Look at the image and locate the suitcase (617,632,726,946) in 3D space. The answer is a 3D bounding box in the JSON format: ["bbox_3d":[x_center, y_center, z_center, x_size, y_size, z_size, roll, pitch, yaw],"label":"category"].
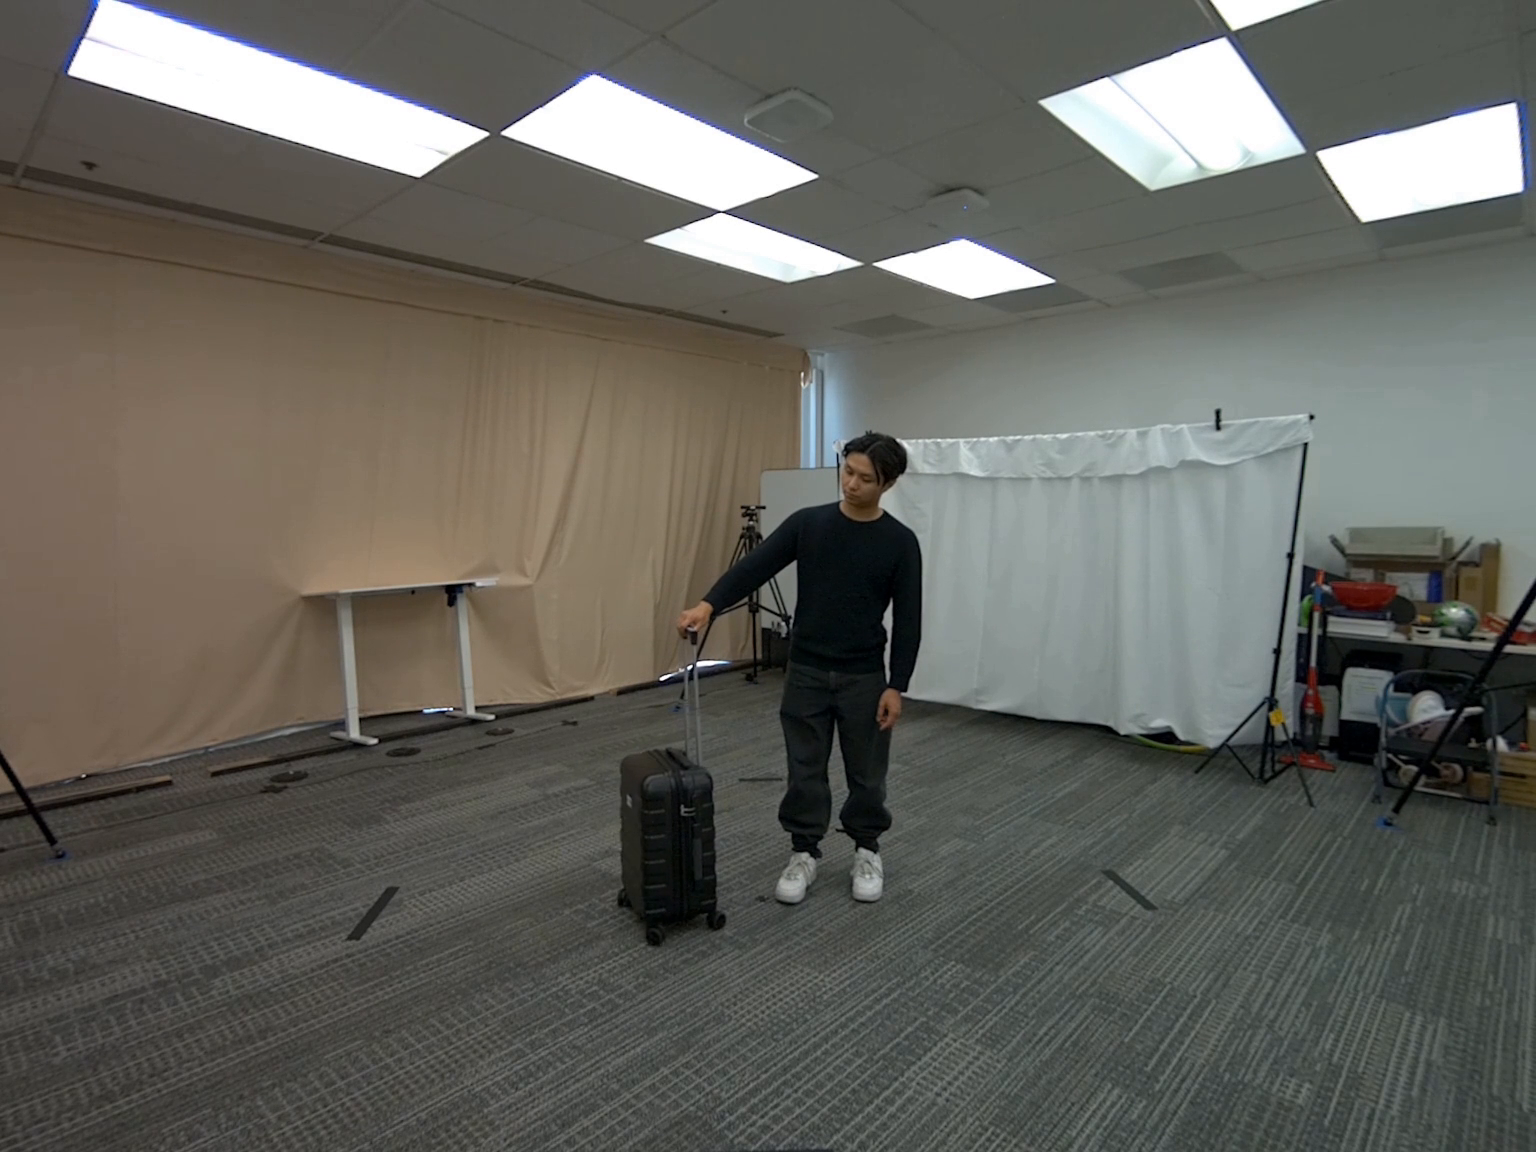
[{"bbox_3d":[-0.353,0.683,2.832,0.252,0.976,0.393,-4,4,-22],"label":"suitcase"}]
